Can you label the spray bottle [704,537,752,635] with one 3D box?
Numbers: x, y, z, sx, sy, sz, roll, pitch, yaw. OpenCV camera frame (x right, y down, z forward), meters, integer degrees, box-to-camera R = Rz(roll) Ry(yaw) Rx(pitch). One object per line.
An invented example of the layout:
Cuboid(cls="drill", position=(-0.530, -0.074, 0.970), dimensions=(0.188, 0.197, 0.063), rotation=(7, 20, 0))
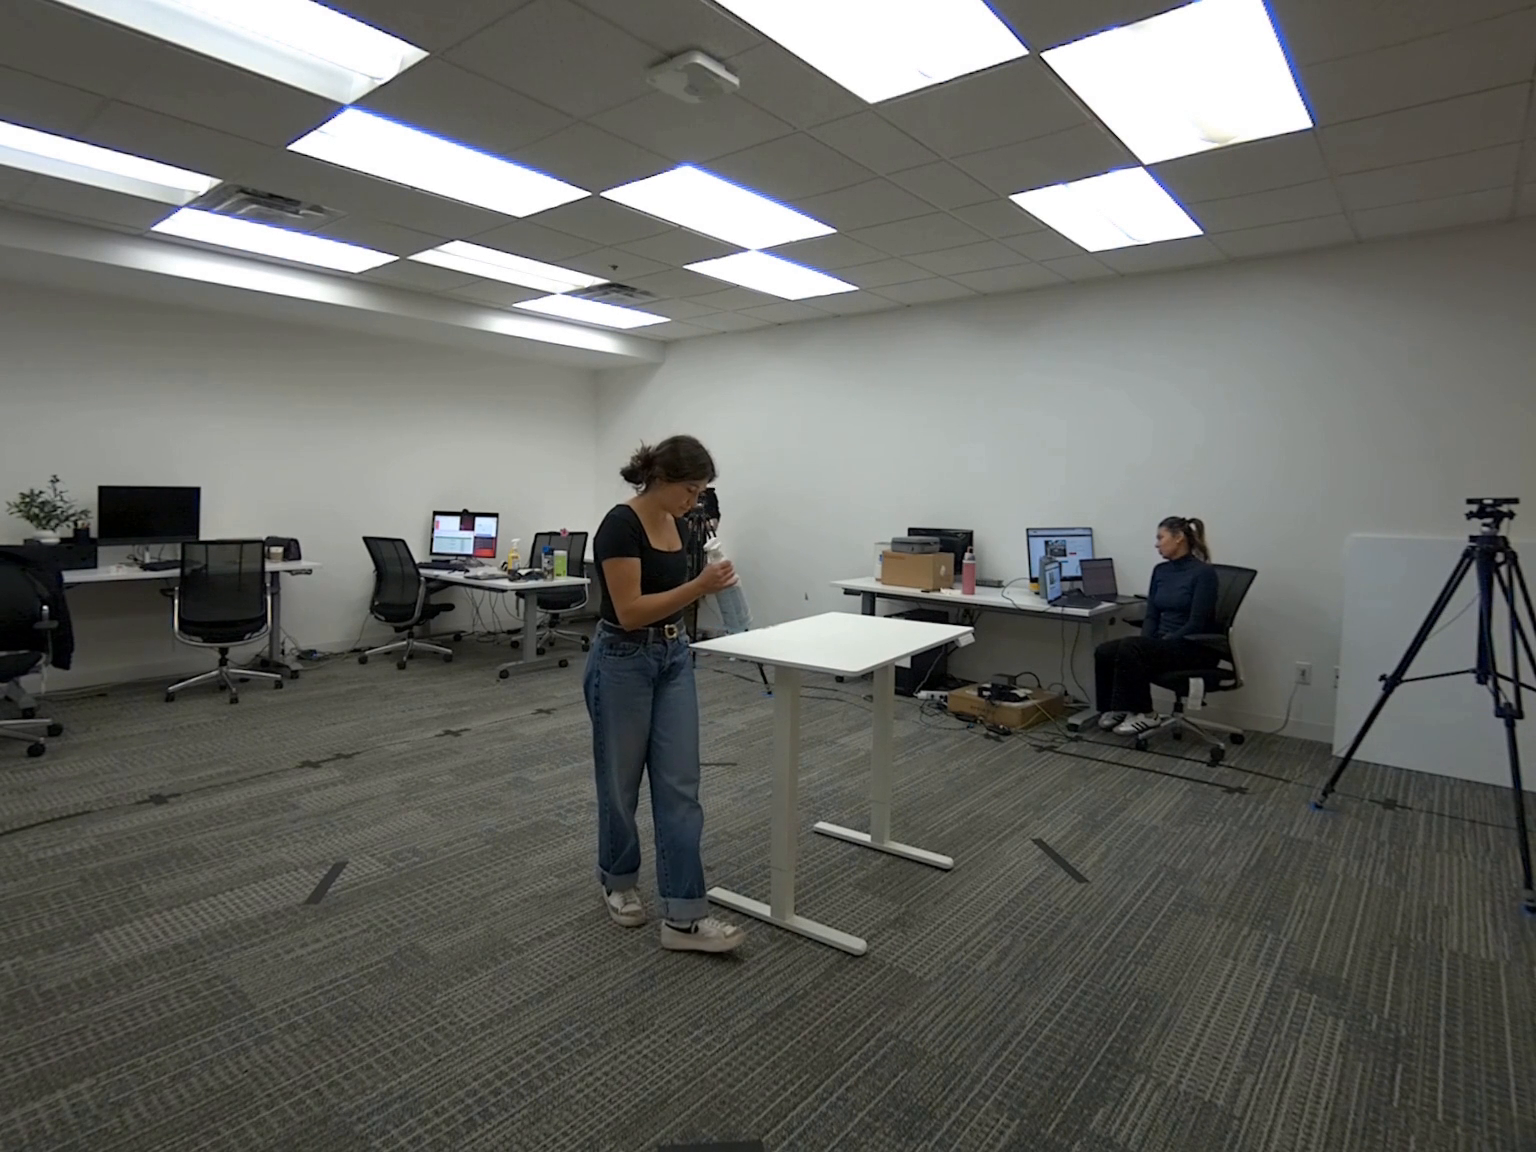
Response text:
Cuboid(cls="spray bottle", position=(-0.132, 0.023, 2.526), dimensions=(0.089, 0.291, 0.090), rotation=(-31, 23, -33))
